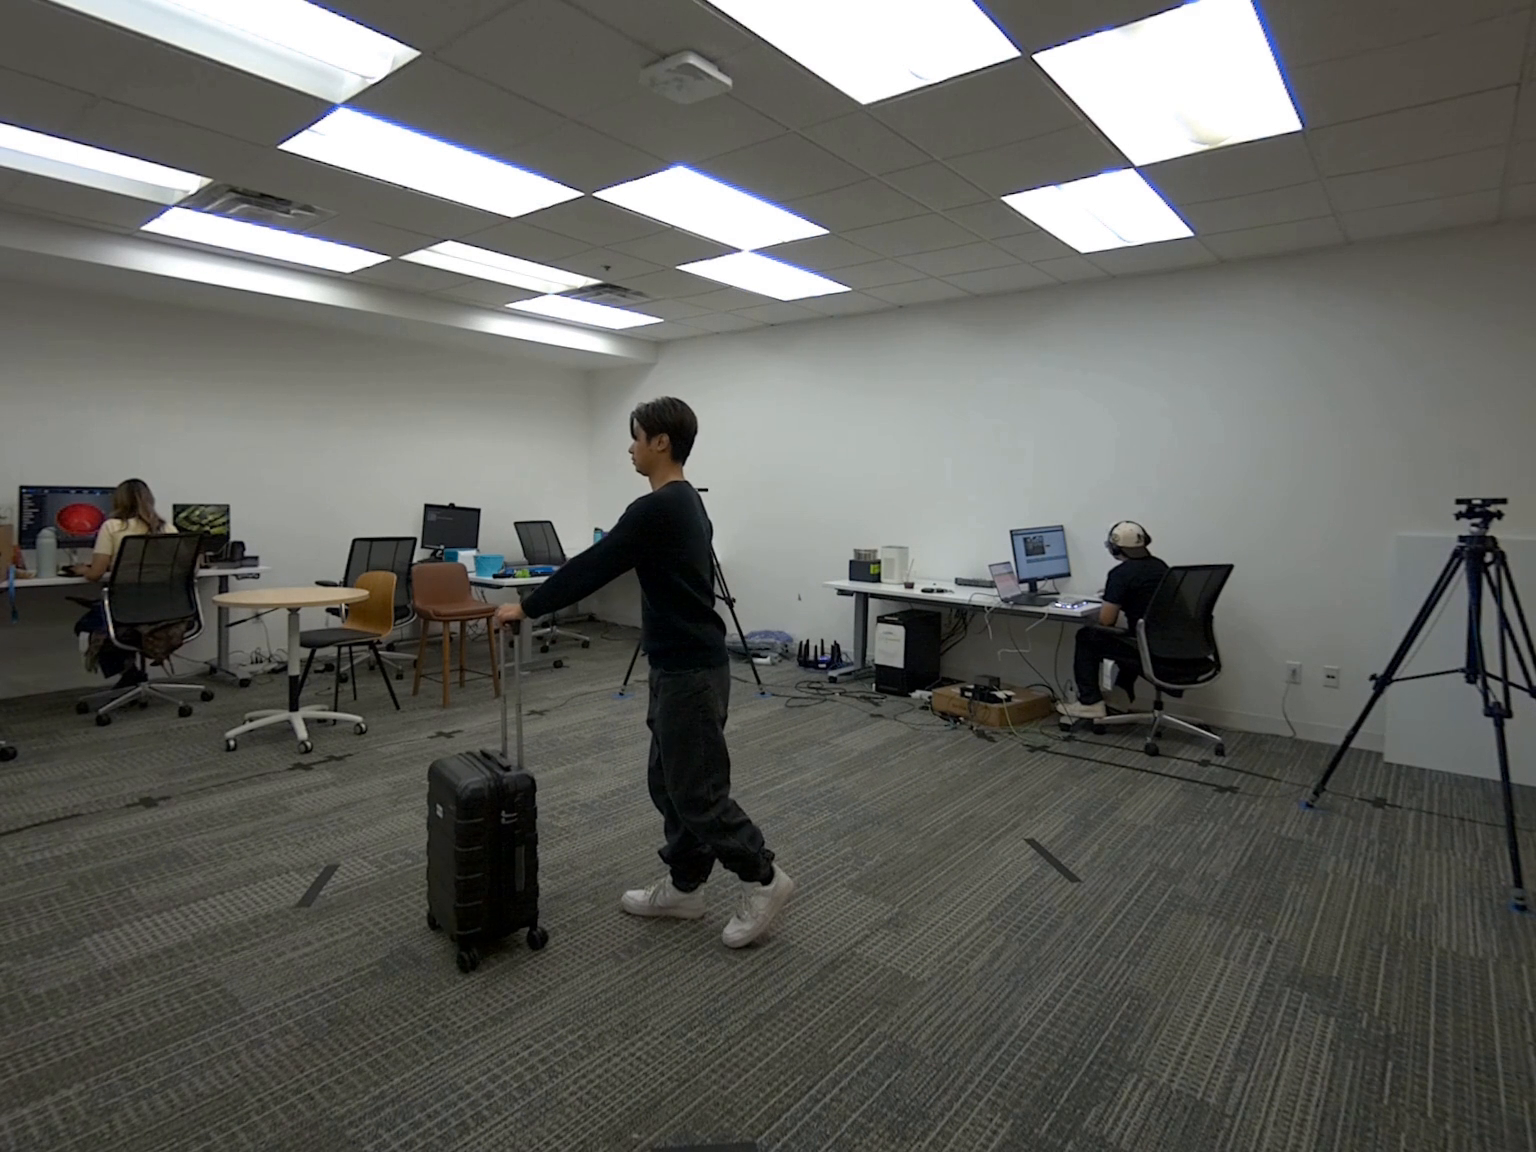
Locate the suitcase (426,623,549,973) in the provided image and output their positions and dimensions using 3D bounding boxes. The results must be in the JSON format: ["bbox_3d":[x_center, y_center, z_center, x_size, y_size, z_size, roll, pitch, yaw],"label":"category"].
[{"bbox_3d":[-0.899,0.632,2.608,0.250,0.976,0.396,-4,3,-34],"label":"suitcase"}]
